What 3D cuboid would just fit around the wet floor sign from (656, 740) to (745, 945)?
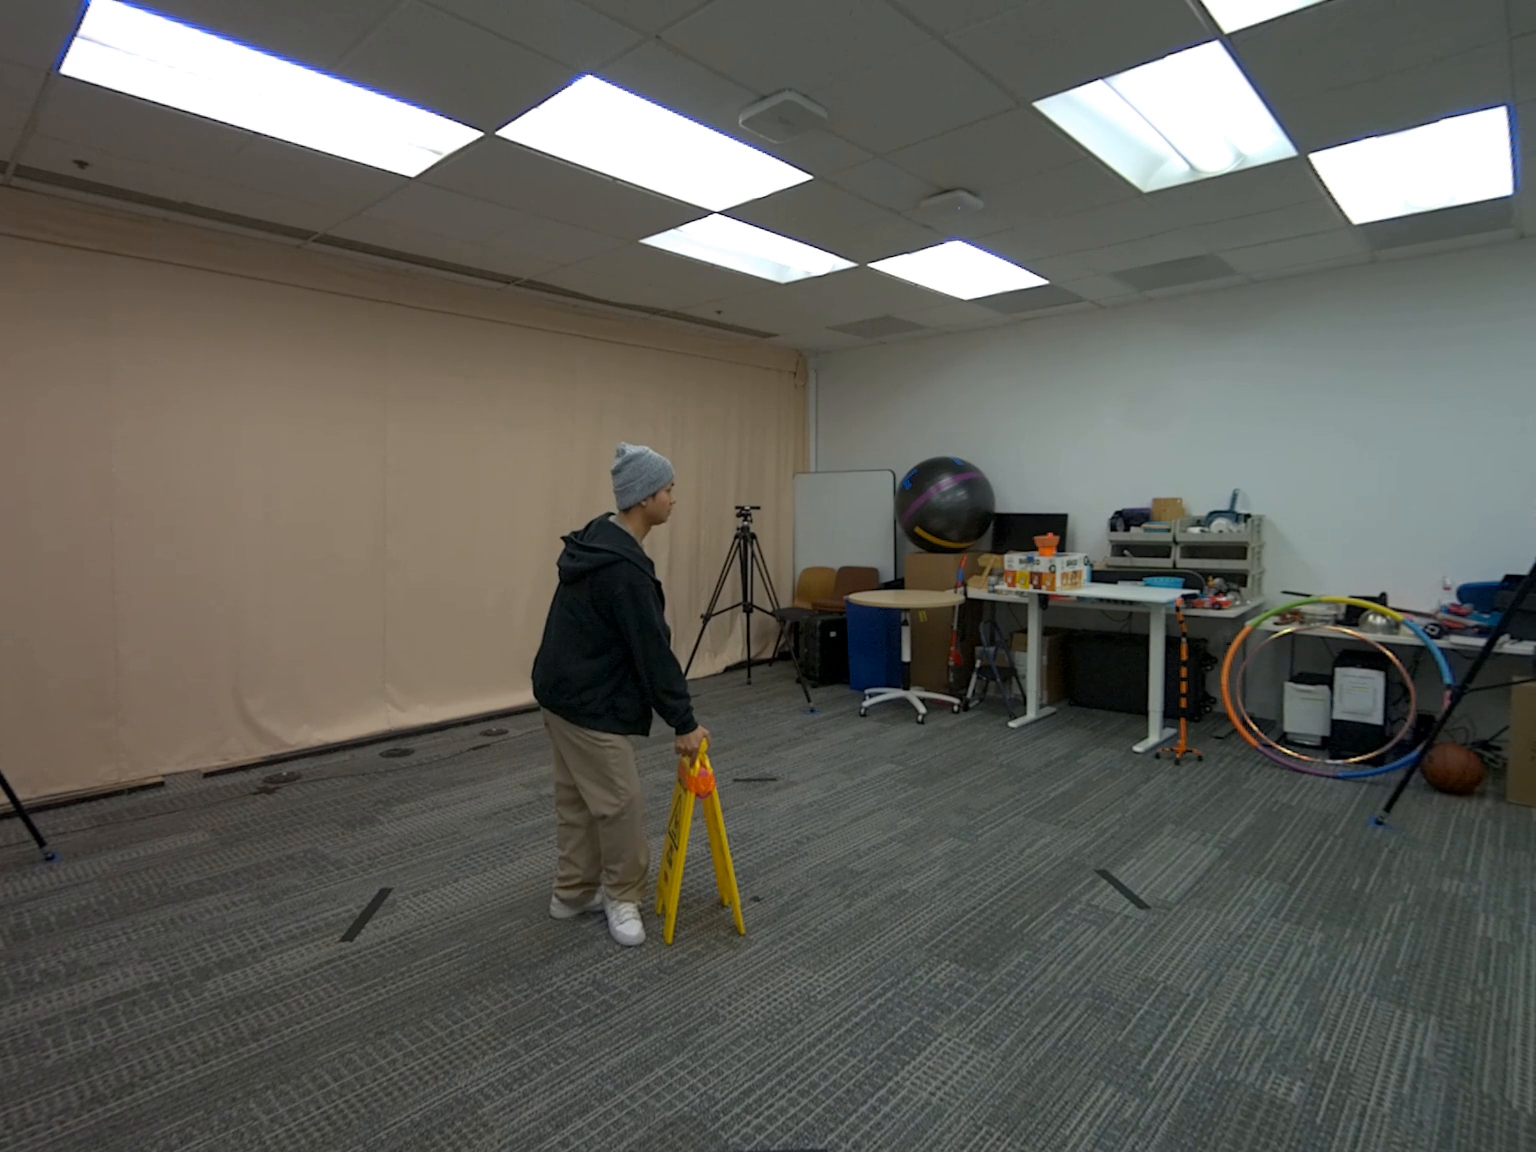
[{"bbox_3d":[-0.238,0.831,2.806,0.285,0.645,0.287,0,2,-15],"label":"wet floor sign"}]
